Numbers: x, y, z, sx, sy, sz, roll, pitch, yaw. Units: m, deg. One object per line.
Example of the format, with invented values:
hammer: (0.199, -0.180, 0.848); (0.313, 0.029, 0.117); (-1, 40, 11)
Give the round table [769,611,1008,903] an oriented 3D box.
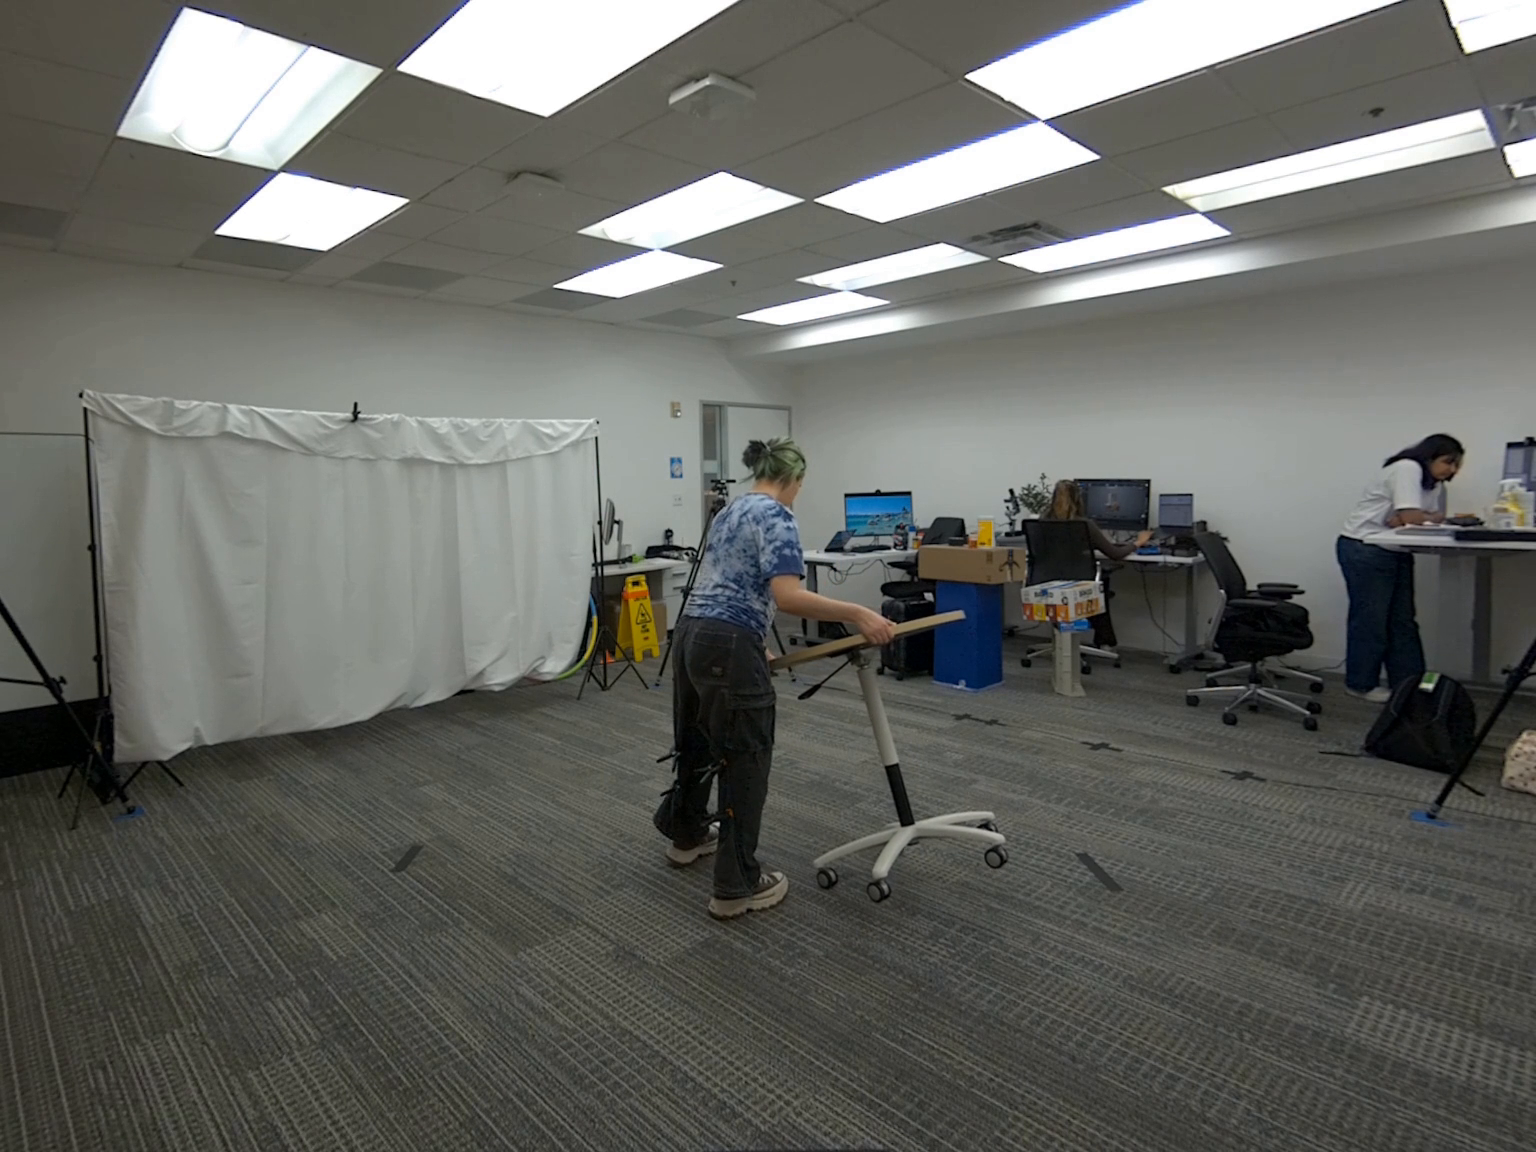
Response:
round table: (0.419, 0.608, 2.953); (0.762, 0.804, 0.757); (-13, -10, -4)
